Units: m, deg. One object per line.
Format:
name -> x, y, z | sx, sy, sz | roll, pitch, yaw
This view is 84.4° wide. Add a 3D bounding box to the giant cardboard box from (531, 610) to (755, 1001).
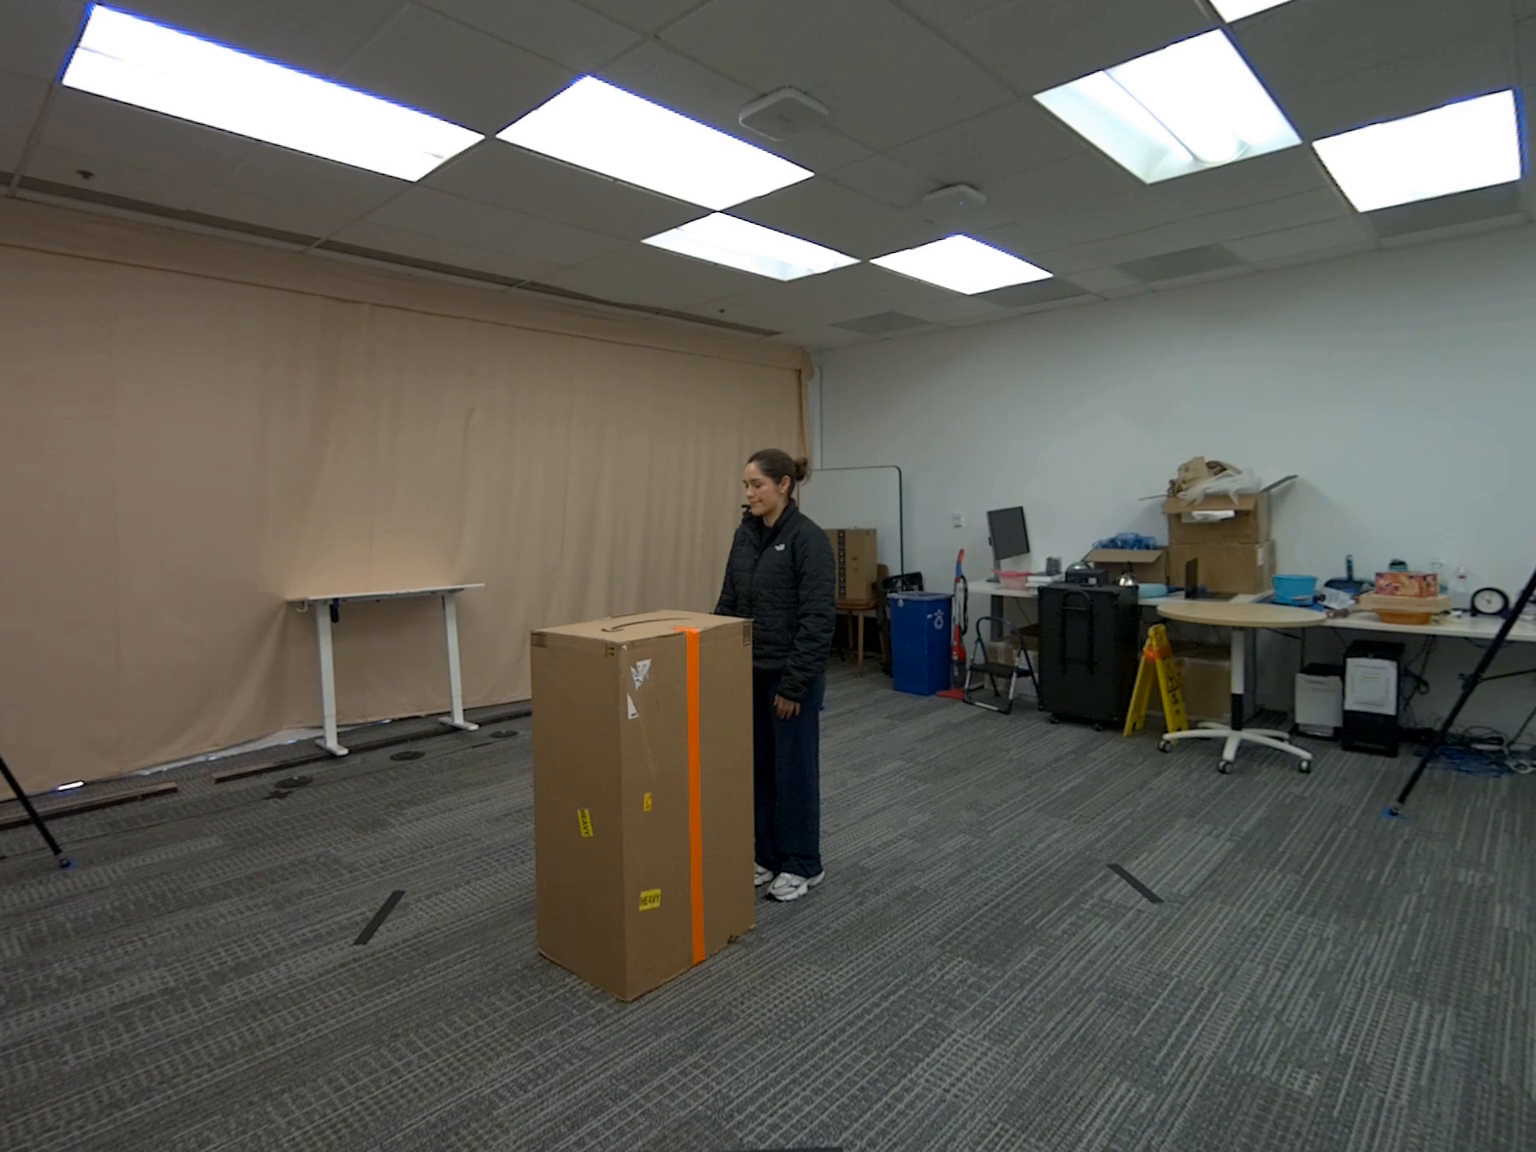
giant cardboard box -> -0.375, 0.665, 2.683 | 0.440, 1.024, 0.560 | 1, 4, 41
